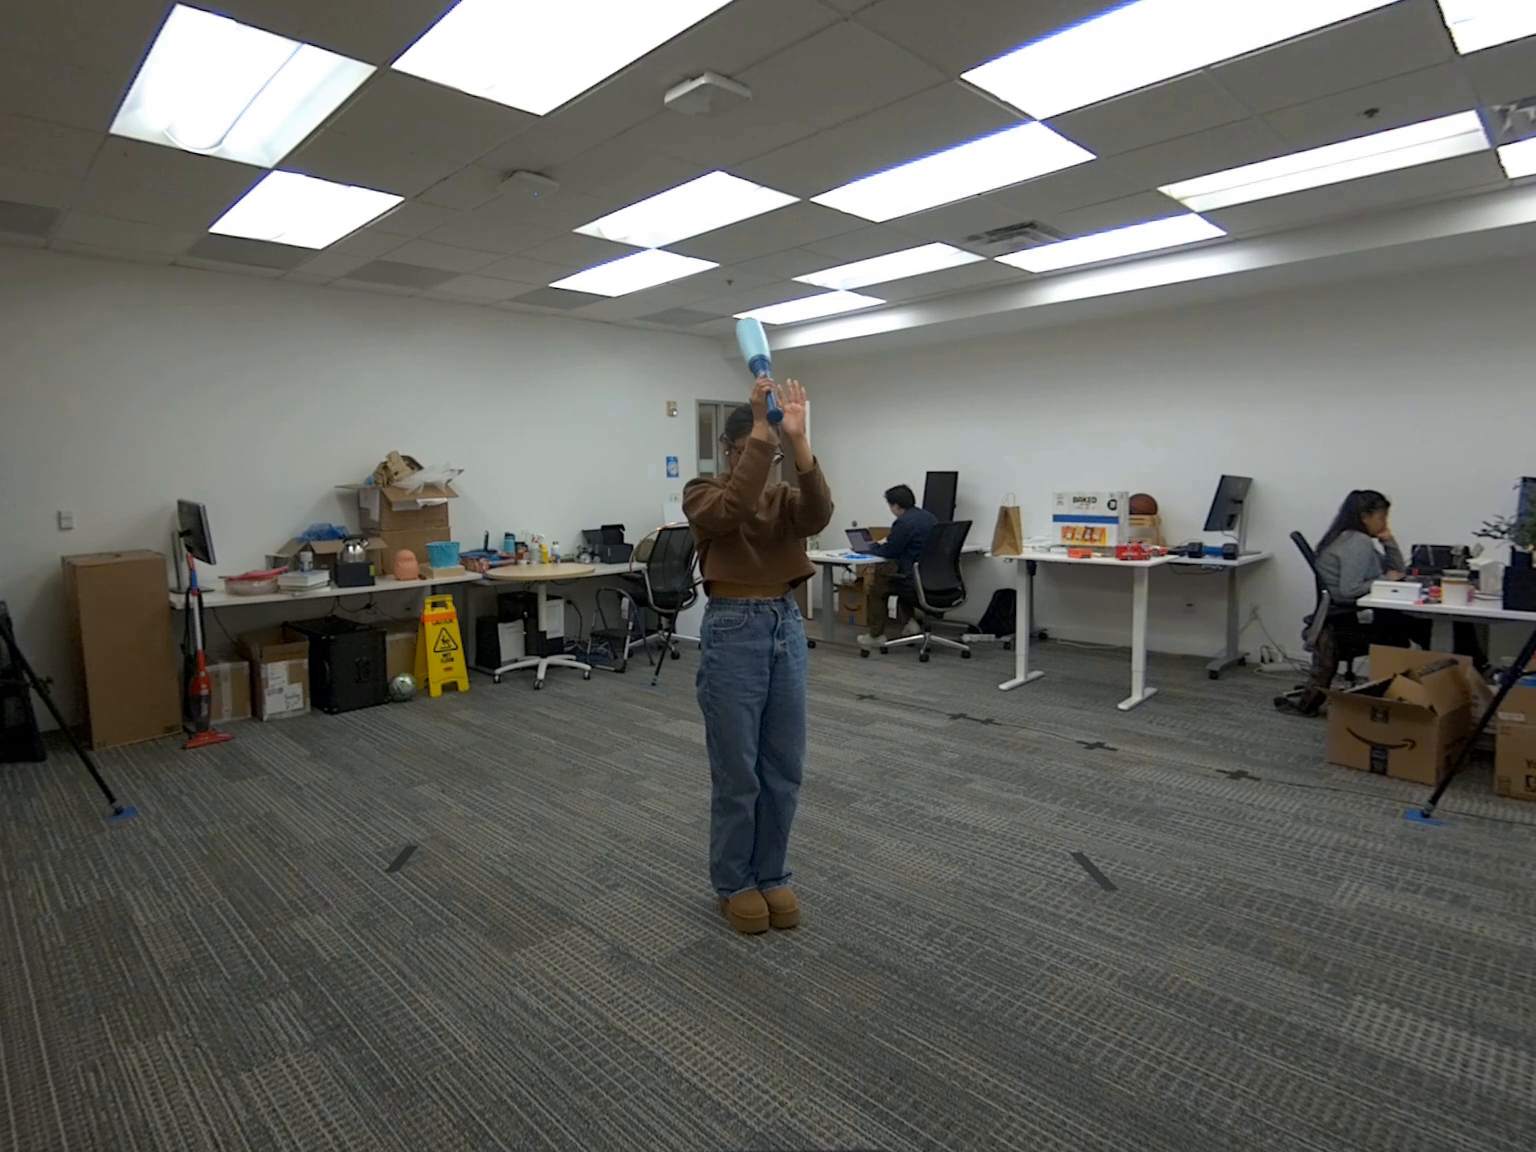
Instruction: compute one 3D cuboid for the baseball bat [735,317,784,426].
[{"bbox_3d":[-0.018,-0.620,2.547,0.088,0.087,0.560,-2,42,-7],"label":"baseball bat"}]
